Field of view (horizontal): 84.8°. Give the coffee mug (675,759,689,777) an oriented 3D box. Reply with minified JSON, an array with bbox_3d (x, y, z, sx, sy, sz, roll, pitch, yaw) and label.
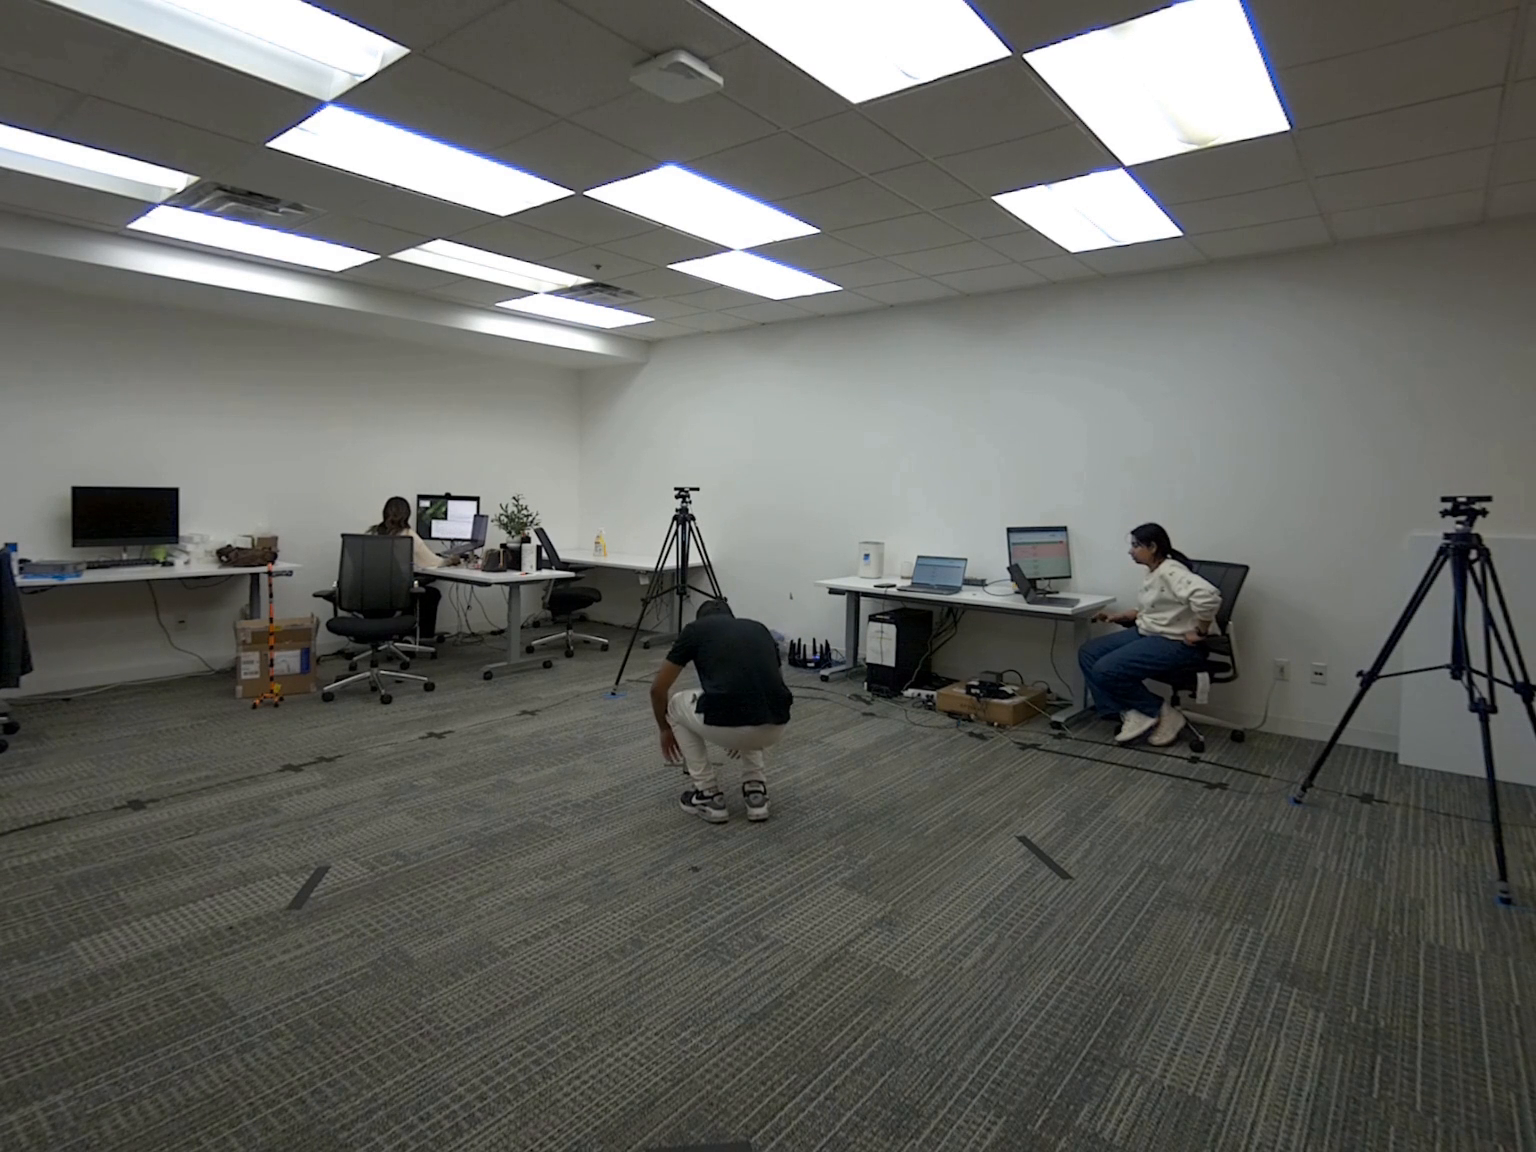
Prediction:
[{"bbox_3d":[-0.398,0.858,4.147,0.090,0.202,0.118,9,4,29],"label":"coffee mug"}]
